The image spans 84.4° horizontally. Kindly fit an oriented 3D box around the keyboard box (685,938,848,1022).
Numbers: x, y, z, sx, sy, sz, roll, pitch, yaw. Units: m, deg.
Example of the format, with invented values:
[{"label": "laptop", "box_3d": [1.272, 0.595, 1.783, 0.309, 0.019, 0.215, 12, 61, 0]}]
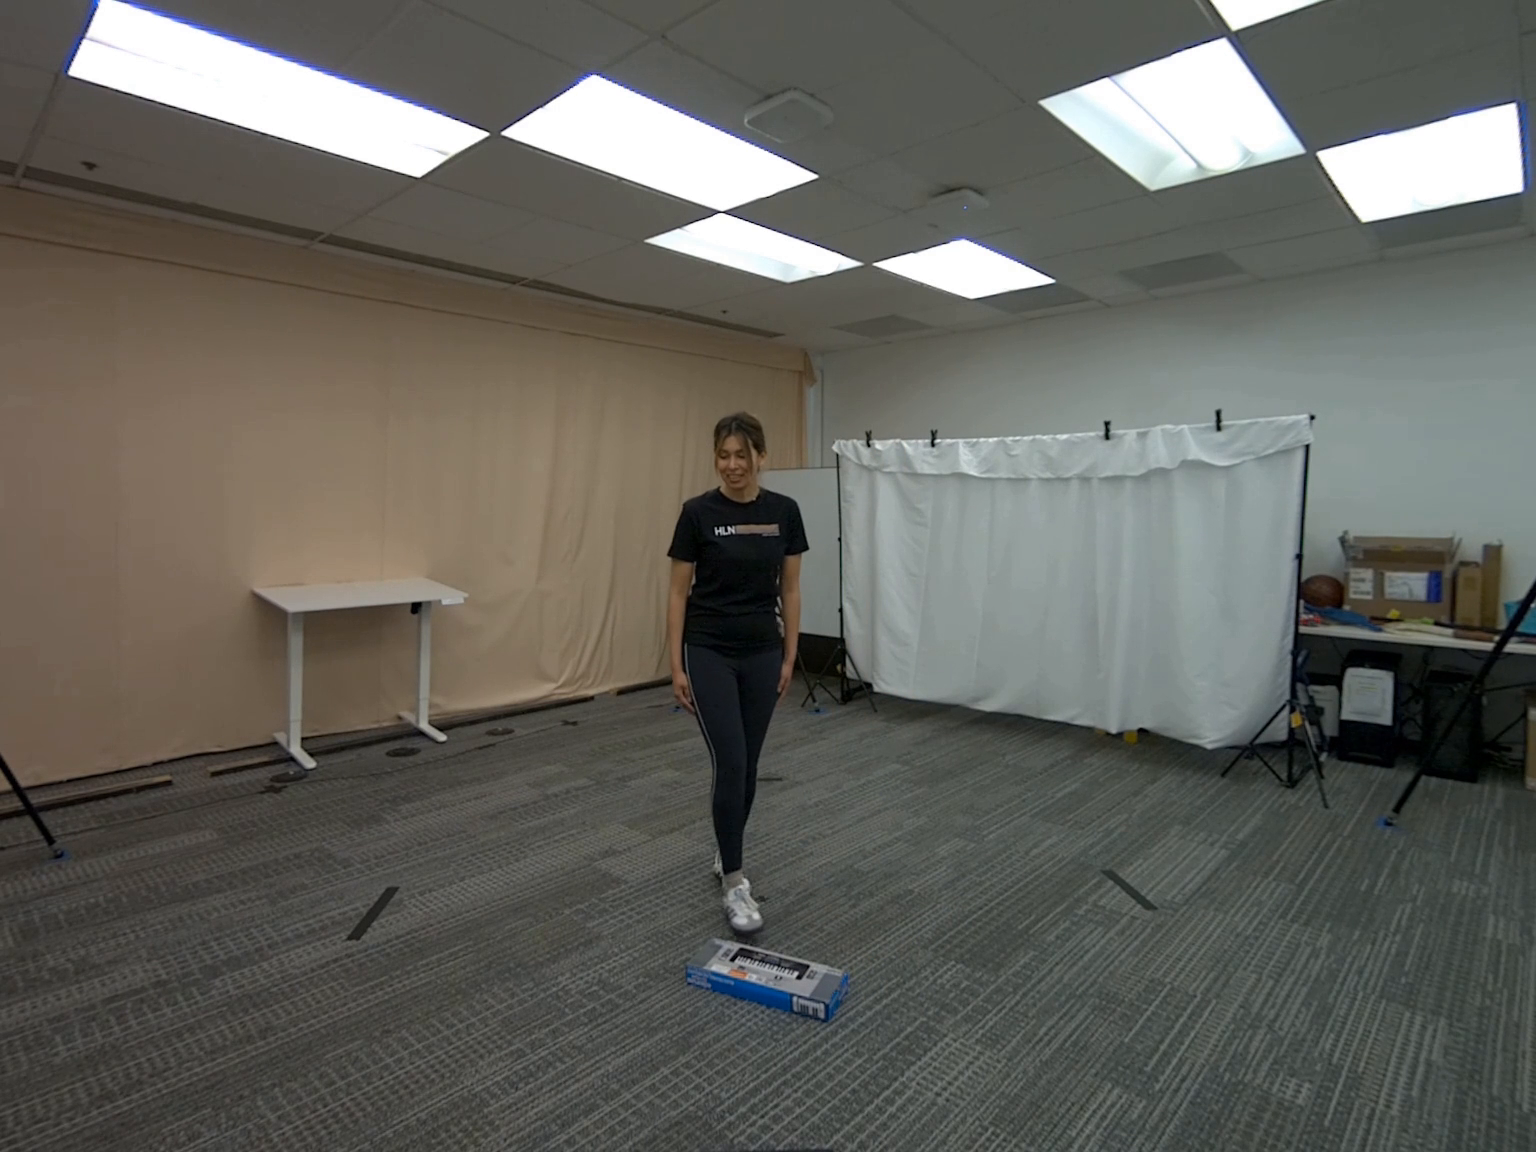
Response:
[{"label": "keyboard box", "box_3d": [-0.003, 1.159, 2.431, 0.448, 0.059, 0.172, 2, 6, 26]}]
